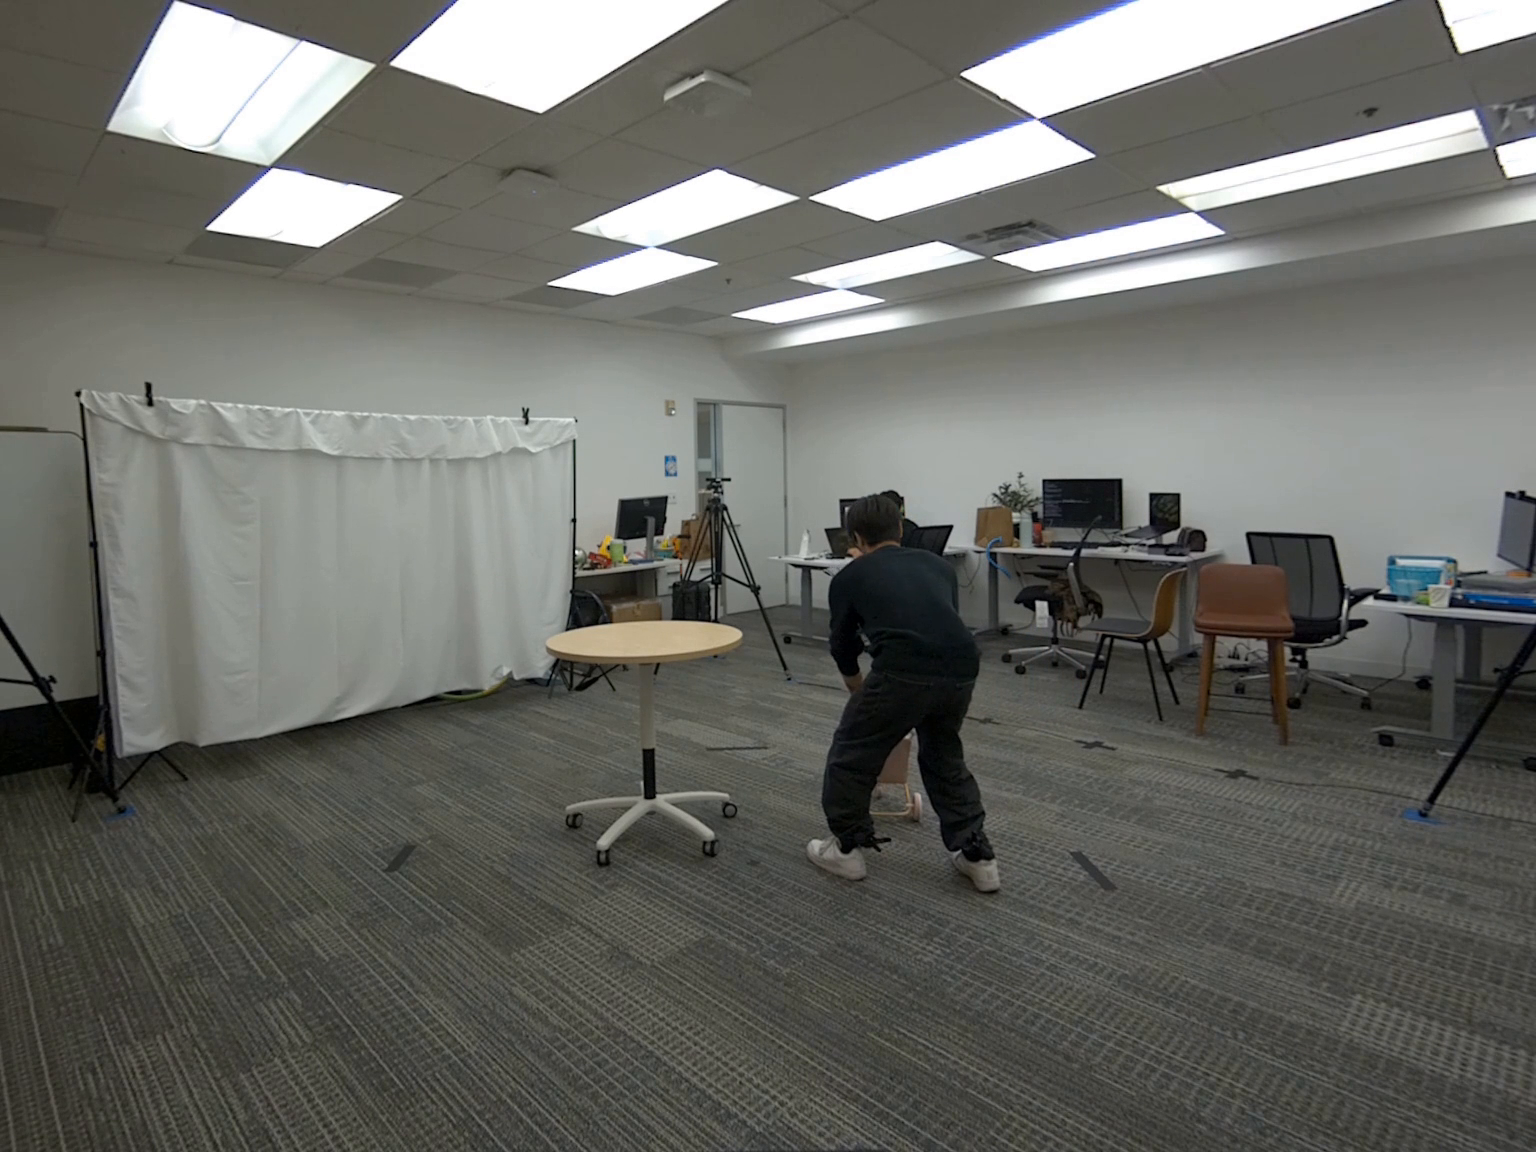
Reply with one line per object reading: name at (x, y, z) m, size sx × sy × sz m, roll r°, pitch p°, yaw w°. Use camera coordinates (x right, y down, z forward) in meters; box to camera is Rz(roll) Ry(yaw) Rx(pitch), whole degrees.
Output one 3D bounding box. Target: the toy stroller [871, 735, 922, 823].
toy stroller at (0.489, 0.764, 3.534) m, size 0.283 × 0.526 × 0.345 m, roll 1°, pitch 20°, yaw 5°
